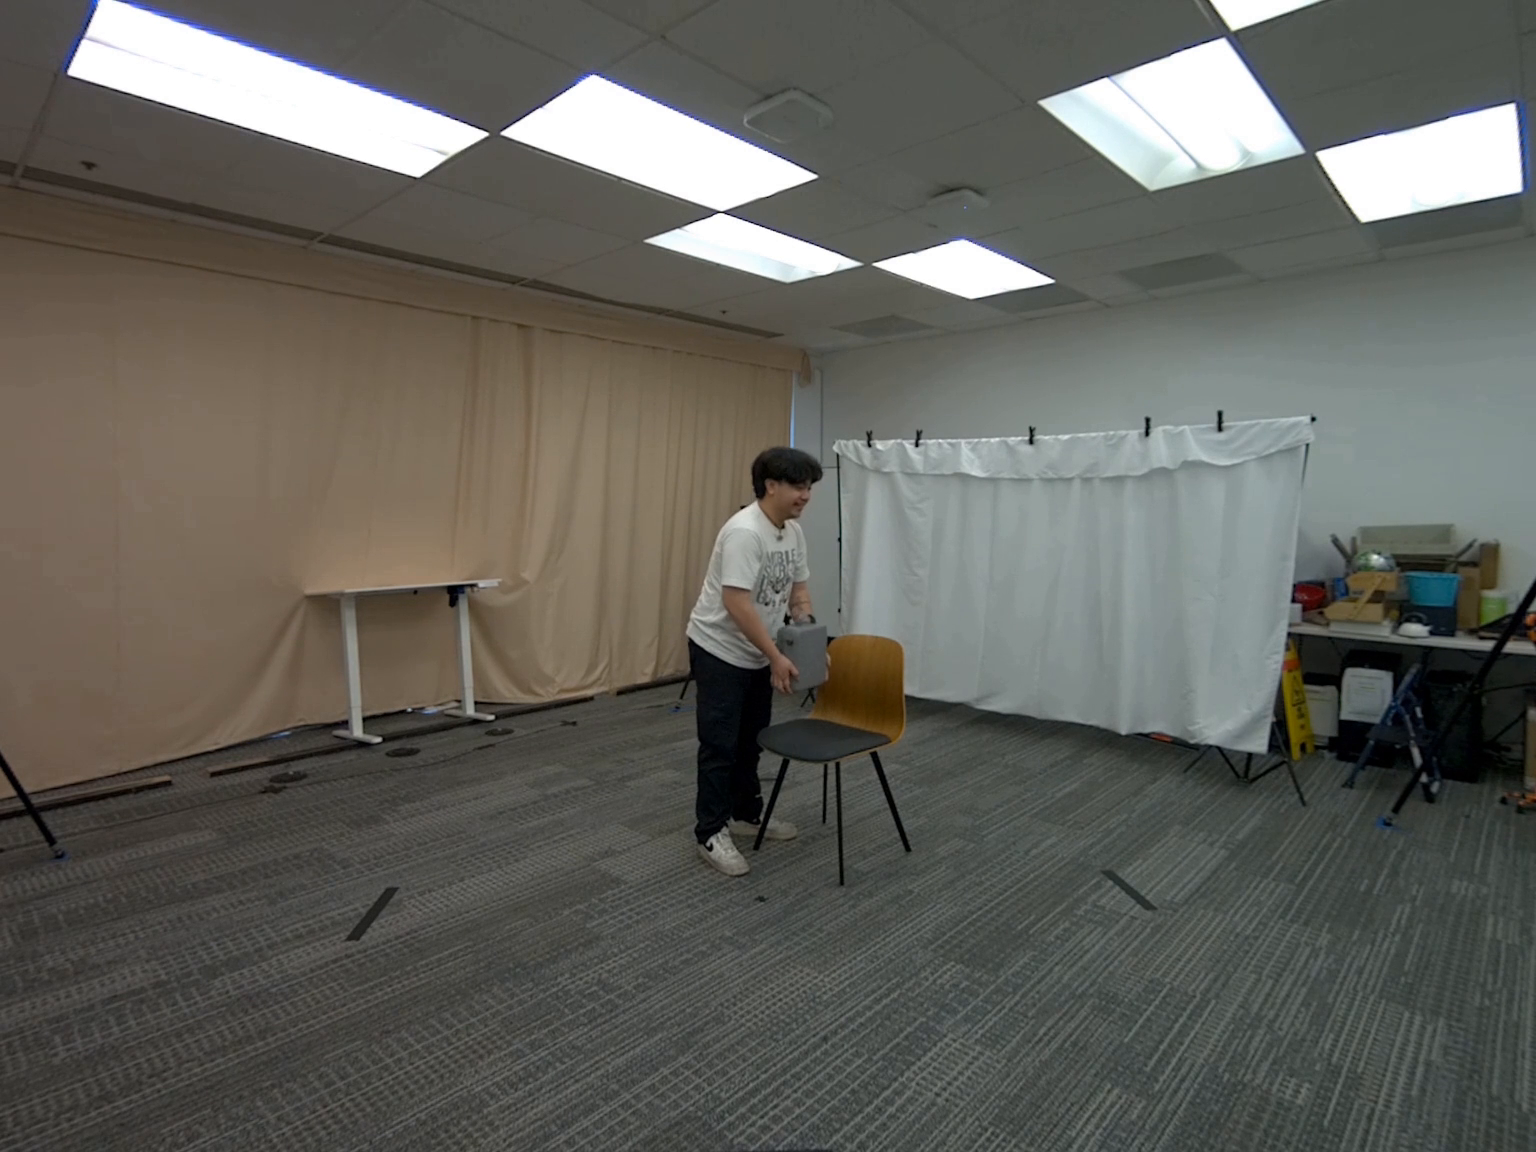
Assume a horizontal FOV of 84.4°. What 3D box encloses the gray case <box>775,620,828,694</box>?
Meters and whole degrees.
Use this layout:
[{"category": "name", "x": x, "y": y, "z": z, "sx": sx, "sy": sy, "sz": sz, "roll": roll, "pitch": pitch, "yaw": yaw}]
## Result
[{"category": "gray case", "x": 0.138, "y": 0.312, "z": 3.297, "sx": 0.107, "sy": 0.260, "sz": 0.250, "roll": 5, "pitch": 6, "yaw": 34}]
